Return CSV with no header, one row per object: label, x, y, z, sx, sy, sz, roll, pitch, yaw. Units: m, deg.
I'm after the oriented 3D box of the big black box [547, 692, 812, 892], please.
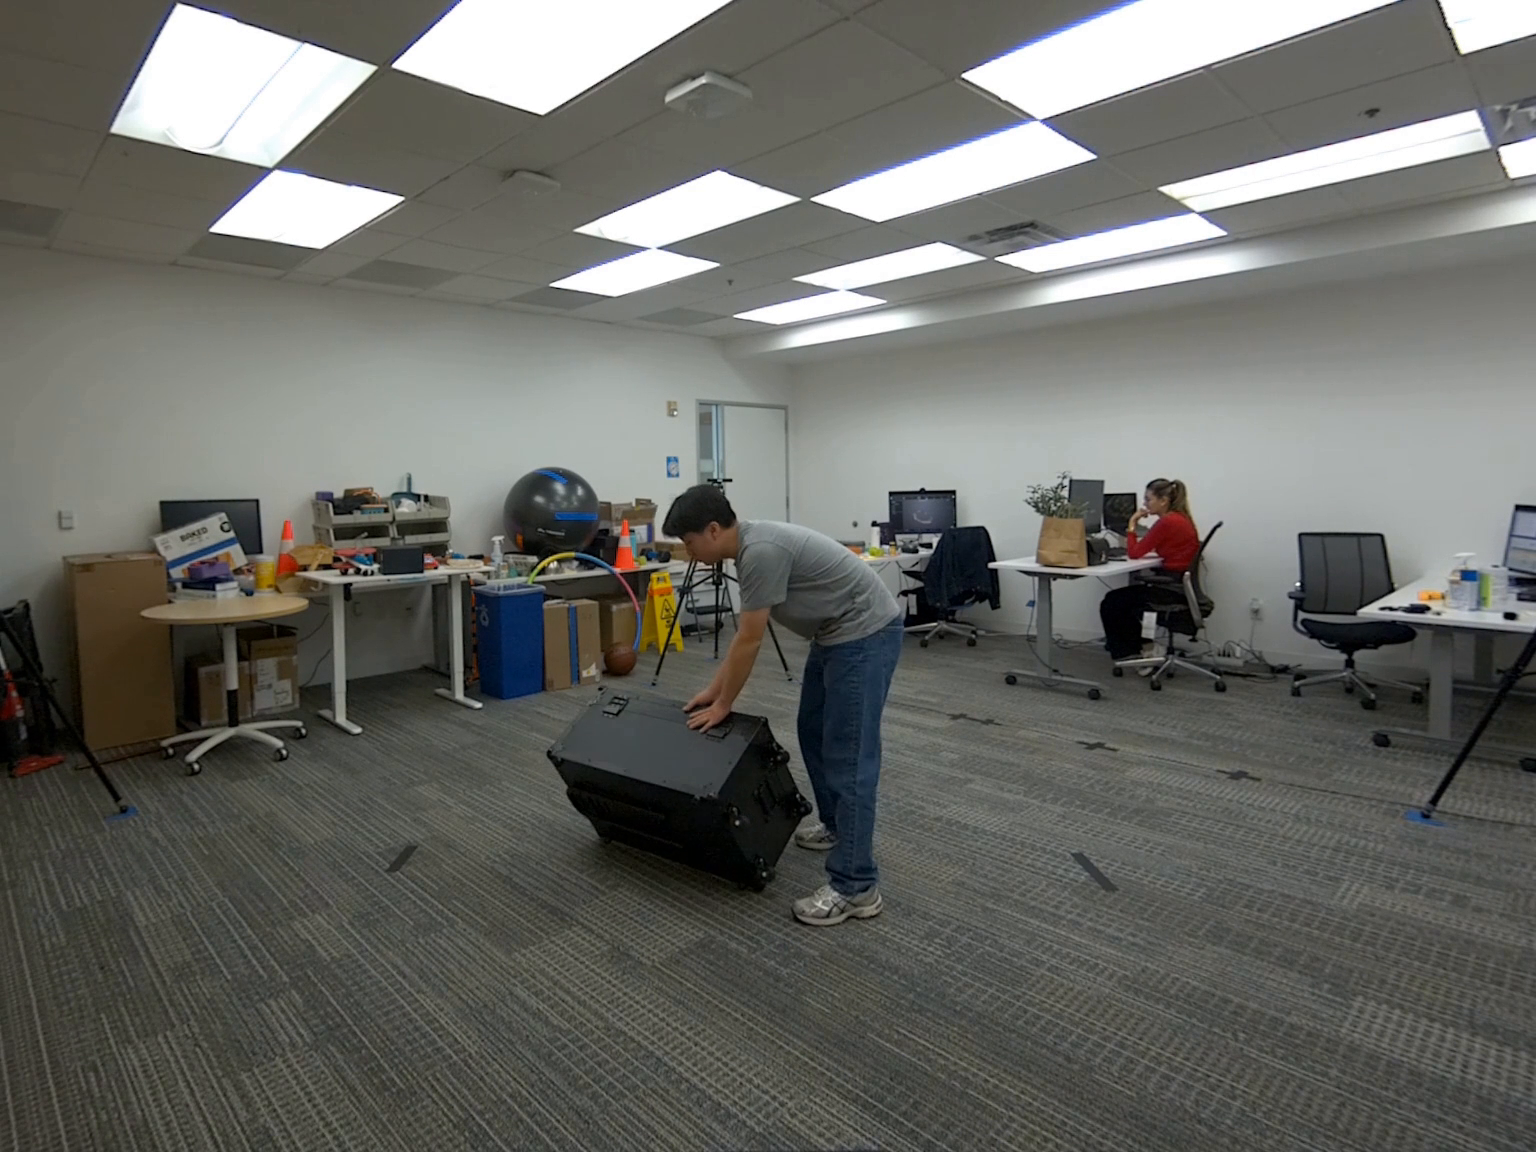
big black box,-0.313,0.756,3.095,0.886,0.505,0.397,3,39,36
